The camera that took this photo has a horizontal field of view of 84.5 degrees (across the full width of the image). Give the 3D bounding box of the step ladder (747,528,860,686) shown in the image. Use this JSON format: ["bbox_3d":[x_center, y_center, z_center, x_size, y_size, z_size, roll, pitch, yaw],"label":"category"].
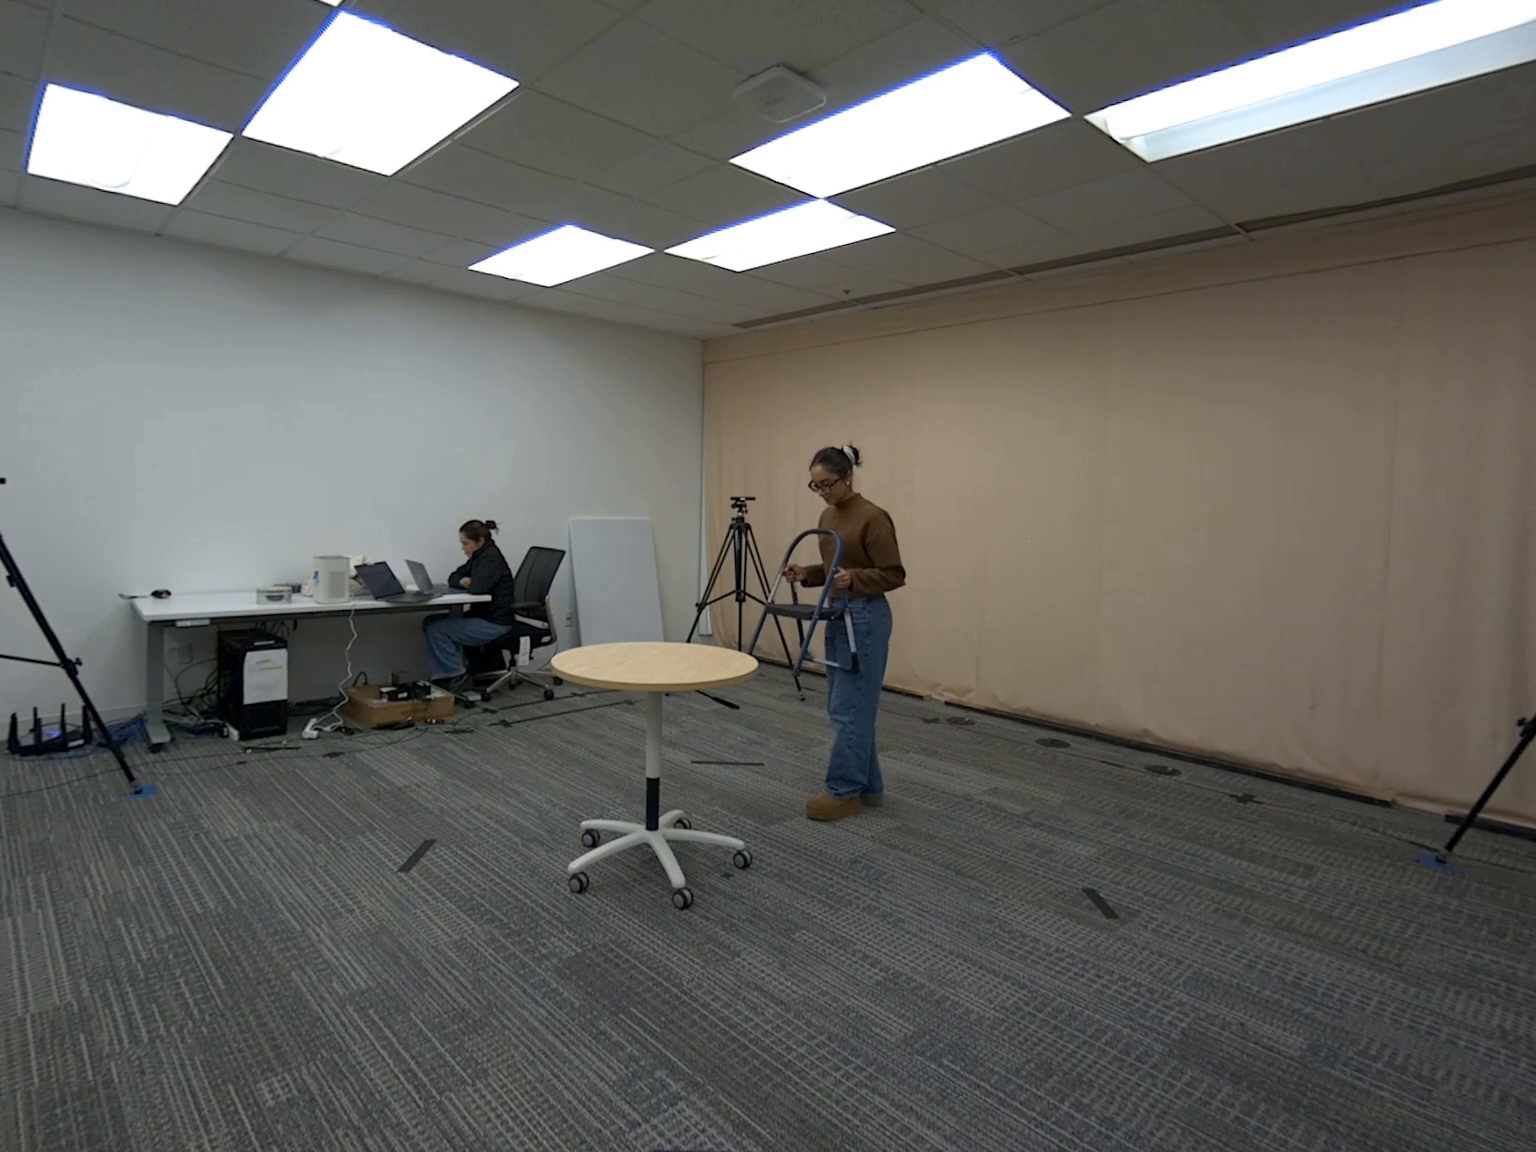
[{"bbox_3d":[0.147,0.096,3.658,0.342,0.606,0.440,3,1,-30],"label":"step ladder"}]
